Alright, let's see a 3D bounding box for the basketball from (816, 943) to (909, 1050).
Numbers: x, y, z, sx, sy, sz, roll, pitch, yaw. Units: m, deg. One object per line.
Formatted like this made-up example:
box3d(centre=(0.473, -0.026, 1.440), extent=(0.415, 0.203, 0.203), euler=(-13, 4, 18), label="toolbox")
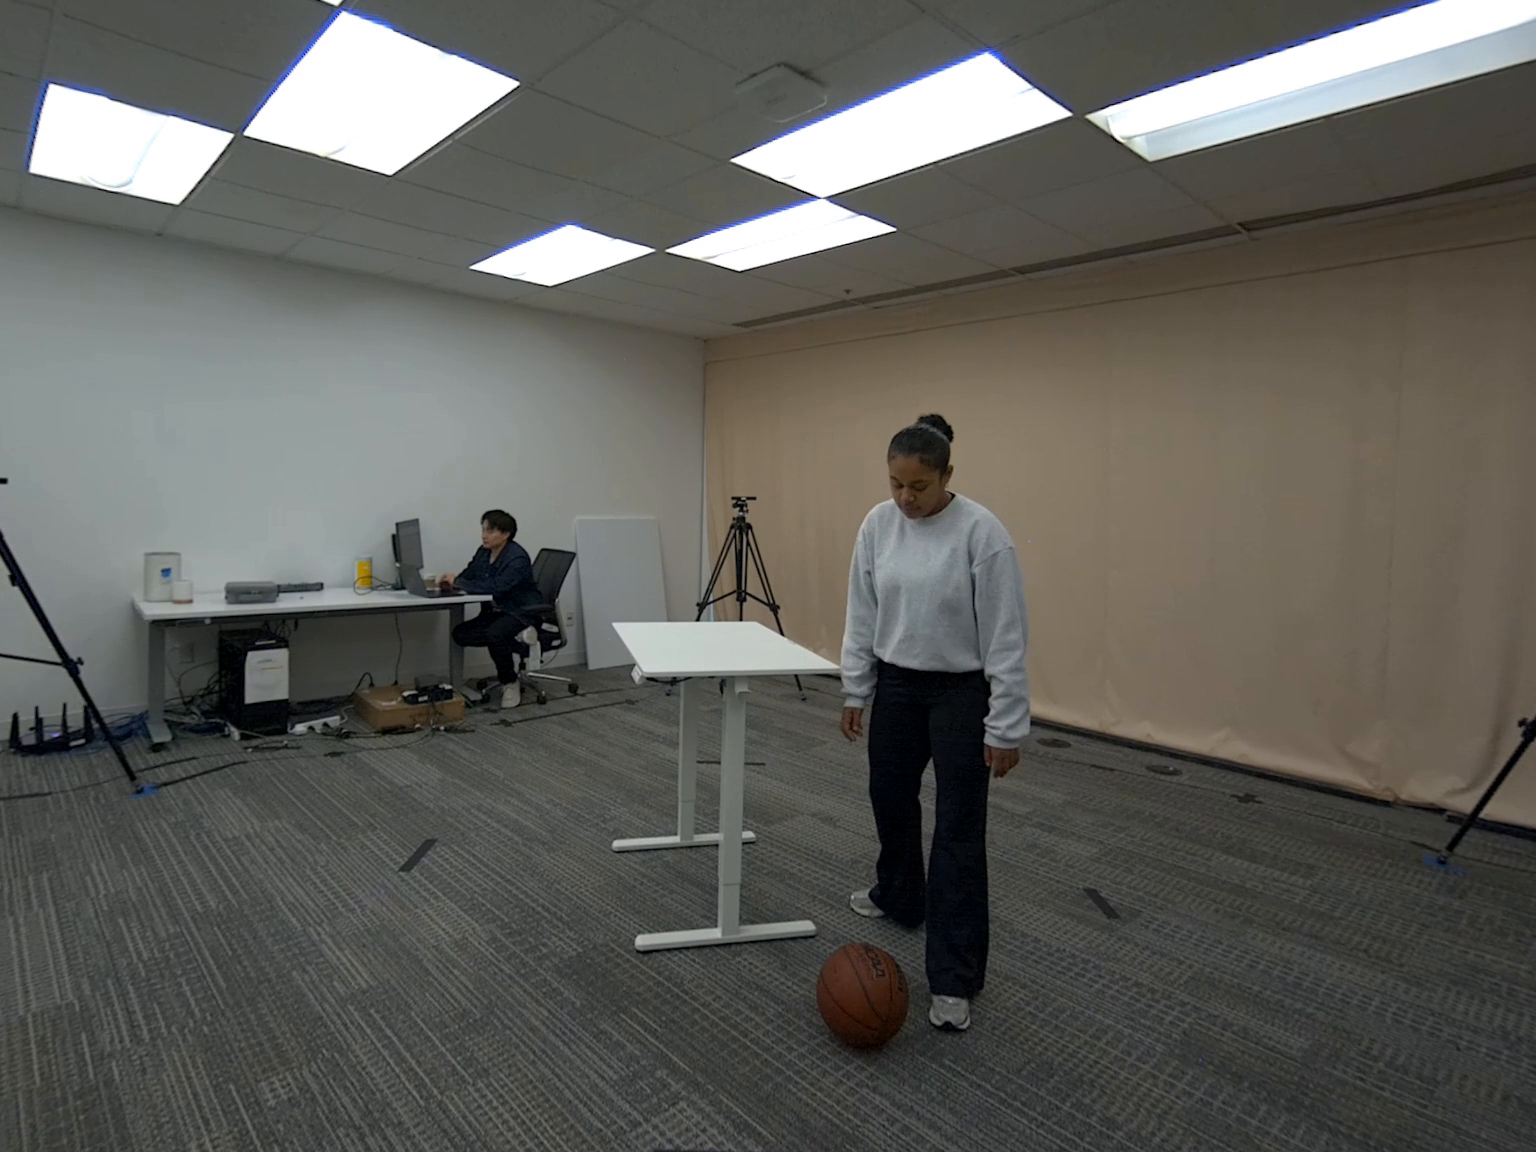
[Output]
box3d(centre=(0.242, 1.084, 2.177), extent=(0.236, 0.235, 0.237), euler=(1, 4, -1), label="basketball")
